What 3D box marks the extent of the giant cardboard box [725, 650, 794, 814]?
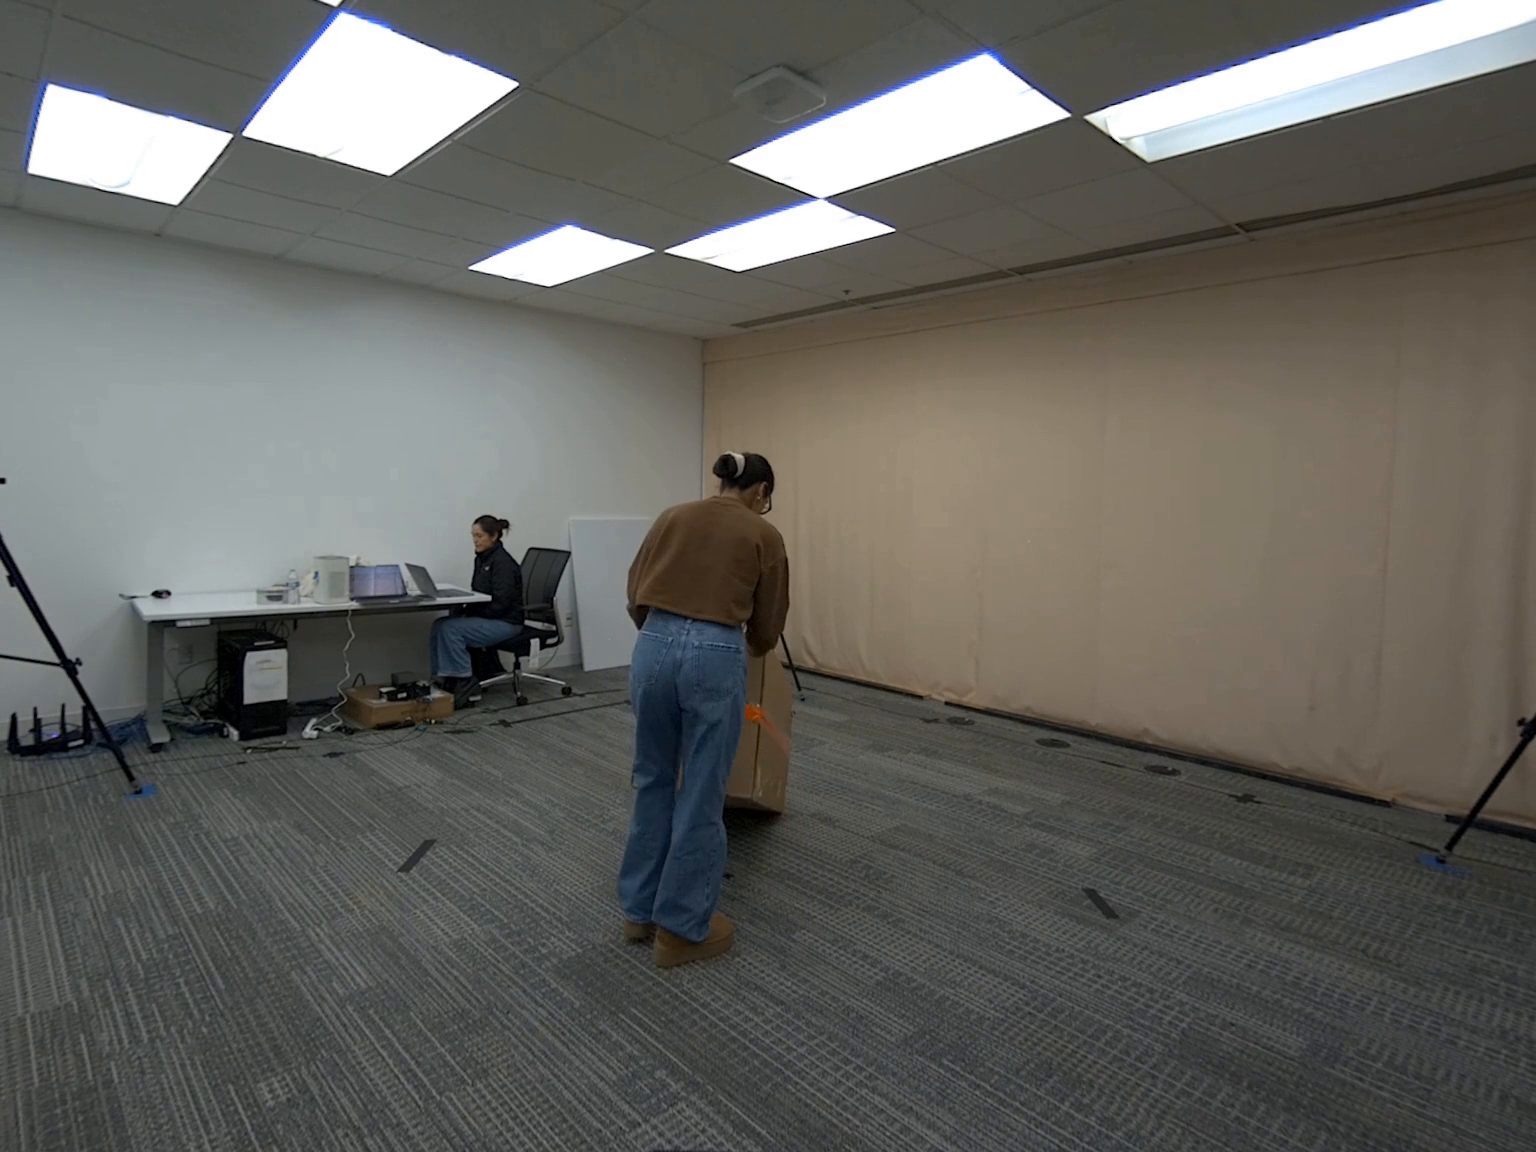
[{"bbox_3d":[-0.173,0.624,3.407,0.430,0.584,1.006,4,-18,8],"label":"giant cardboard box"}]
